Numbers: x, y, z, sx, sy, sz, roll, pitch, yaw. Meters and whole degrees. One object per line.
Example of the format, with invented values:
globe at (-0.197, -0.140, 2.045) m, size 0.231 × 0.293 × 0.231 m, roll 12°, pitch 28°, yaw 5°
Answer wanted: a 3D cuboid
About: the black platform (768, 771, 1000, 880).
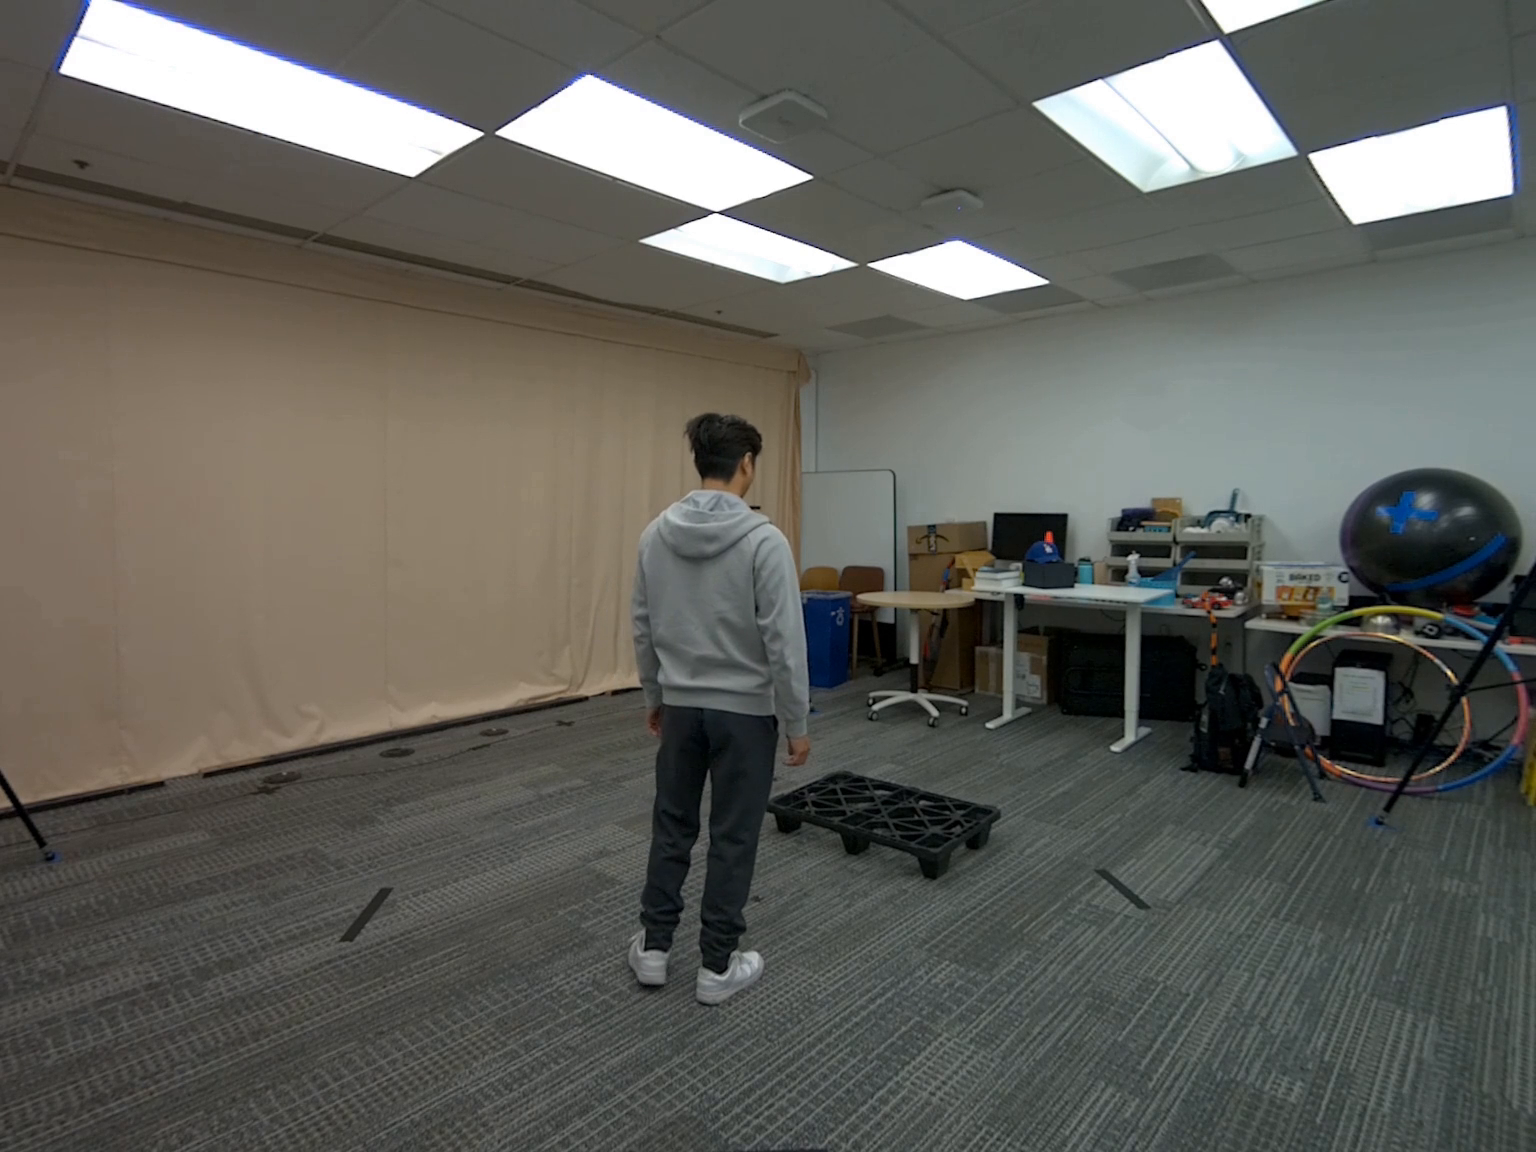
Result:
black platform at (0.477, 1.030, 3.531) m, size 0.832 × 0.143 × 0.587 m, roll 3°, pitch 6°, yaw 39°
